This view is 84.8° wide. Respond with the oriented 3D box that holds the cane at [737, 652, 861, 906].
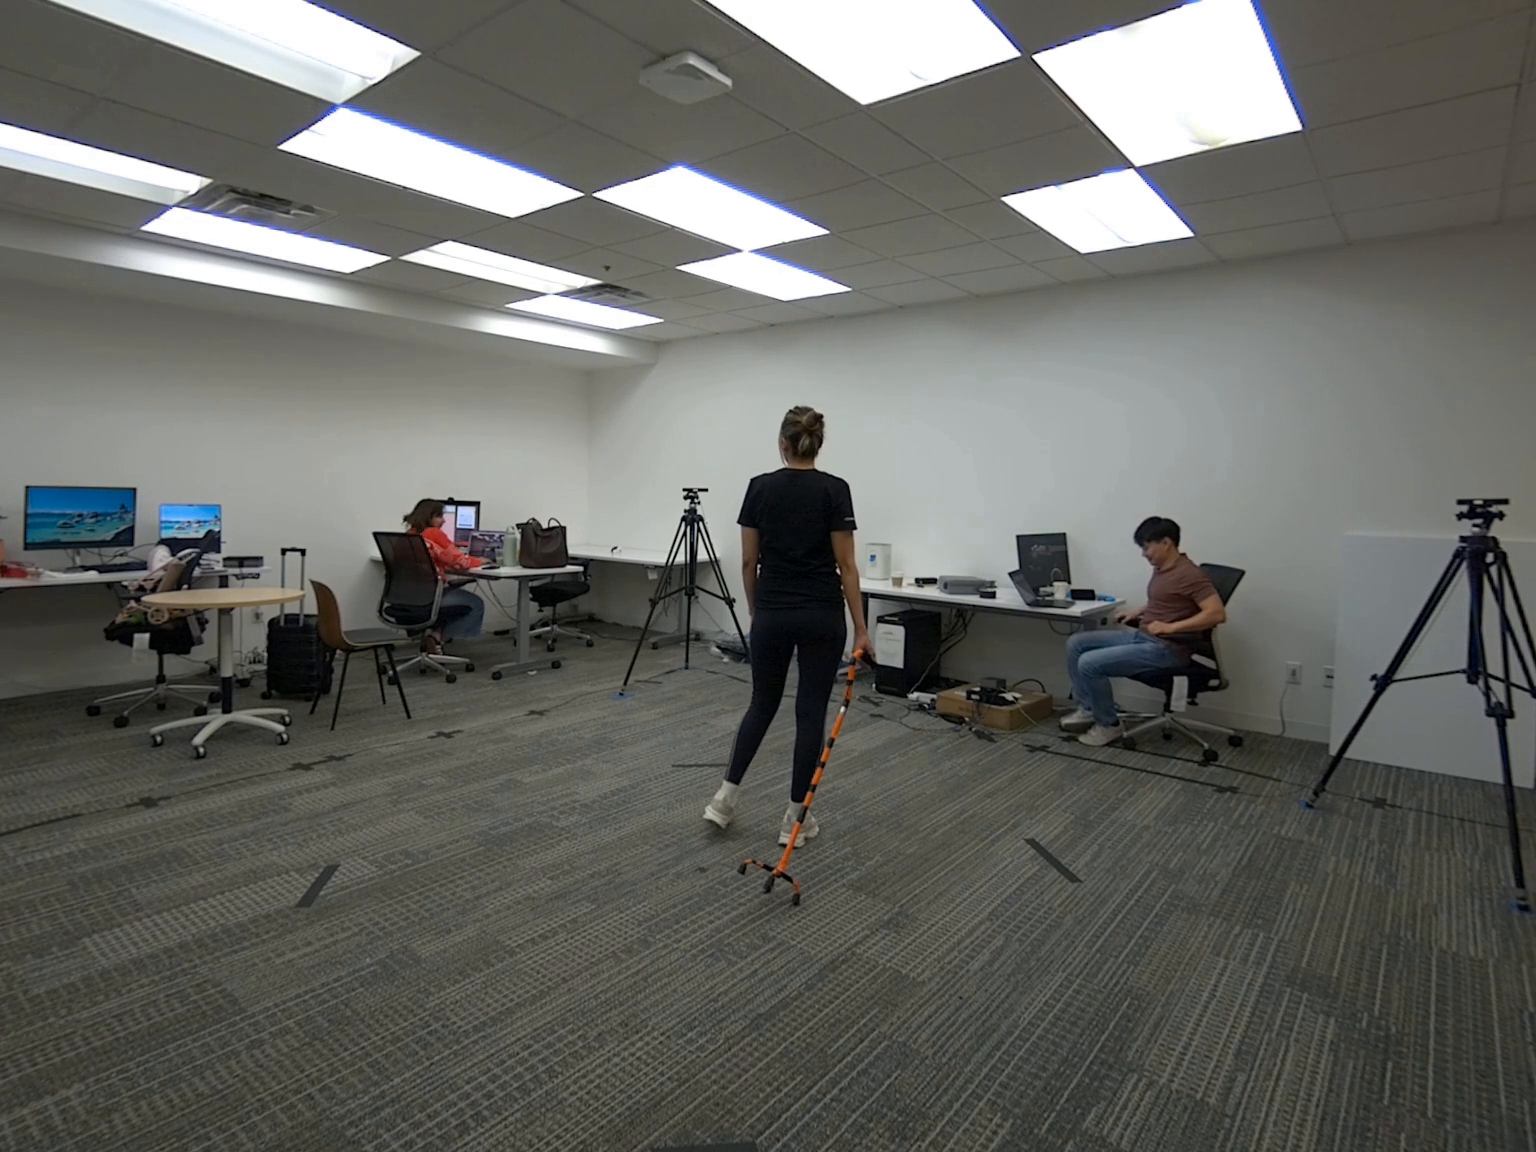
[{"bbox_3d":[0.170,0.666,3.019,0.157,0.916,0.198,7,-29,35],"label":"cane"}]
